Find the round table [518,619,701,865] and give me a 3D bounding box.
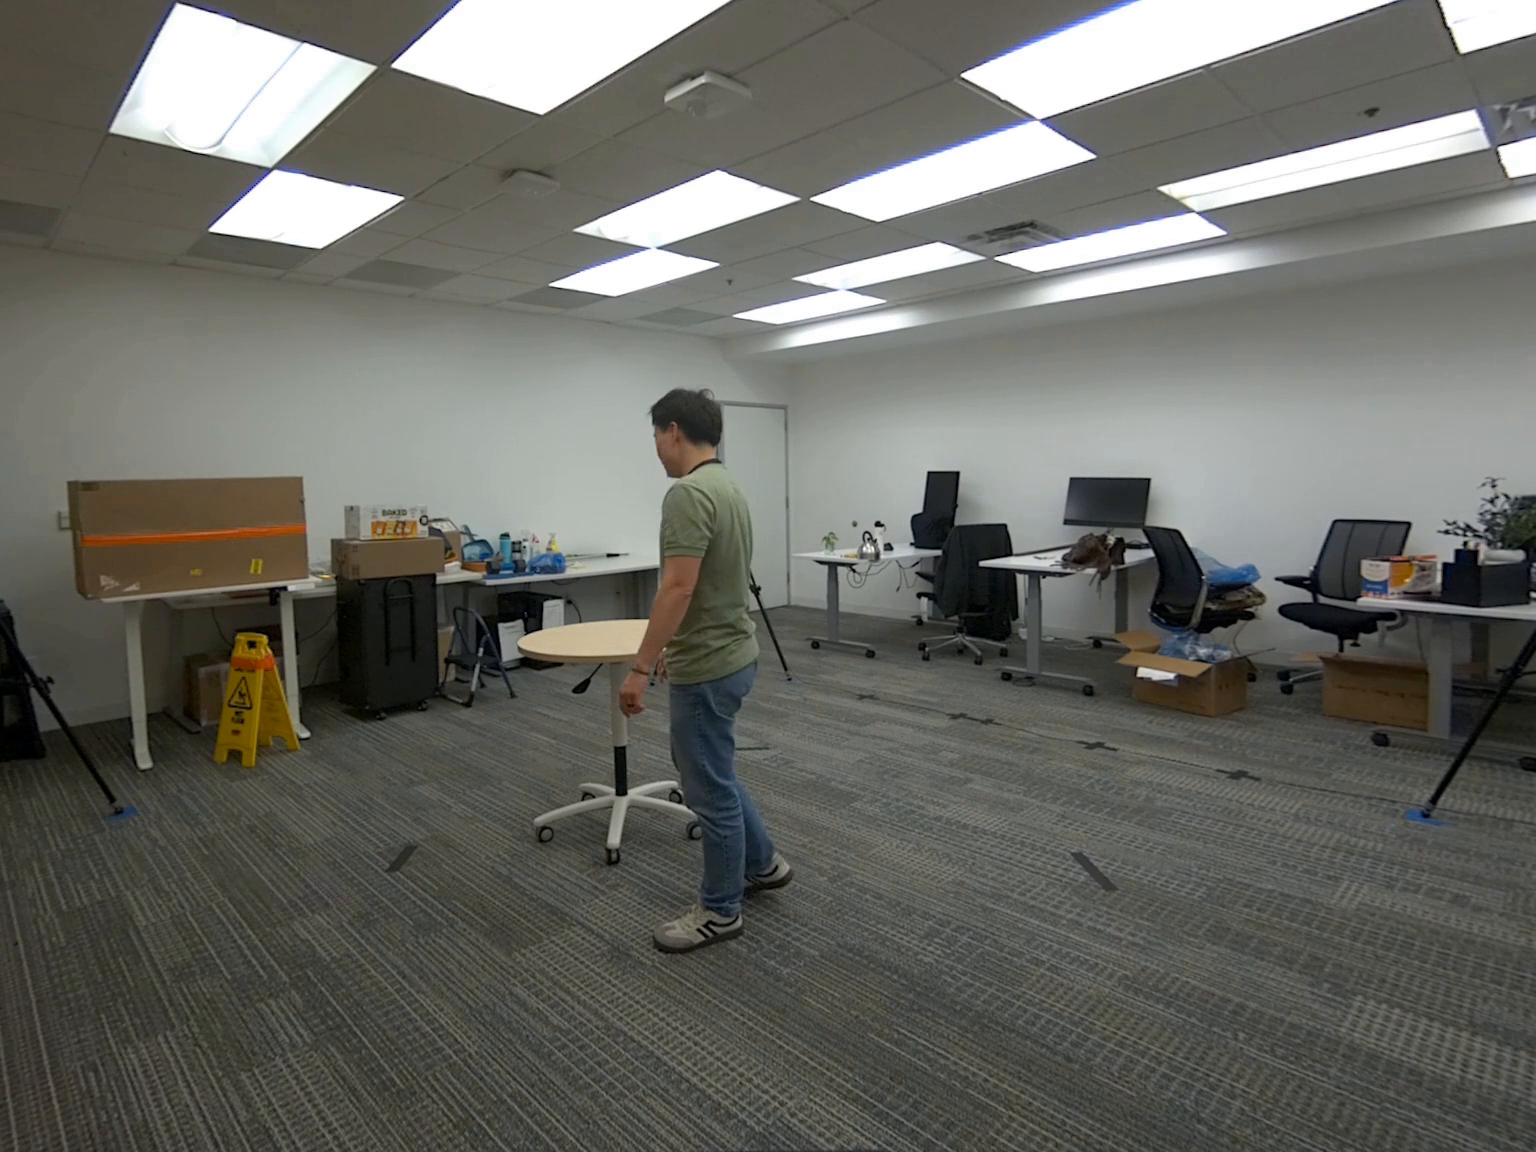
[{"bbox_3d":[-0.589,0.629,3.412,0.763,0.791,0.767,-2,4,-2],"label":"round table"}]
